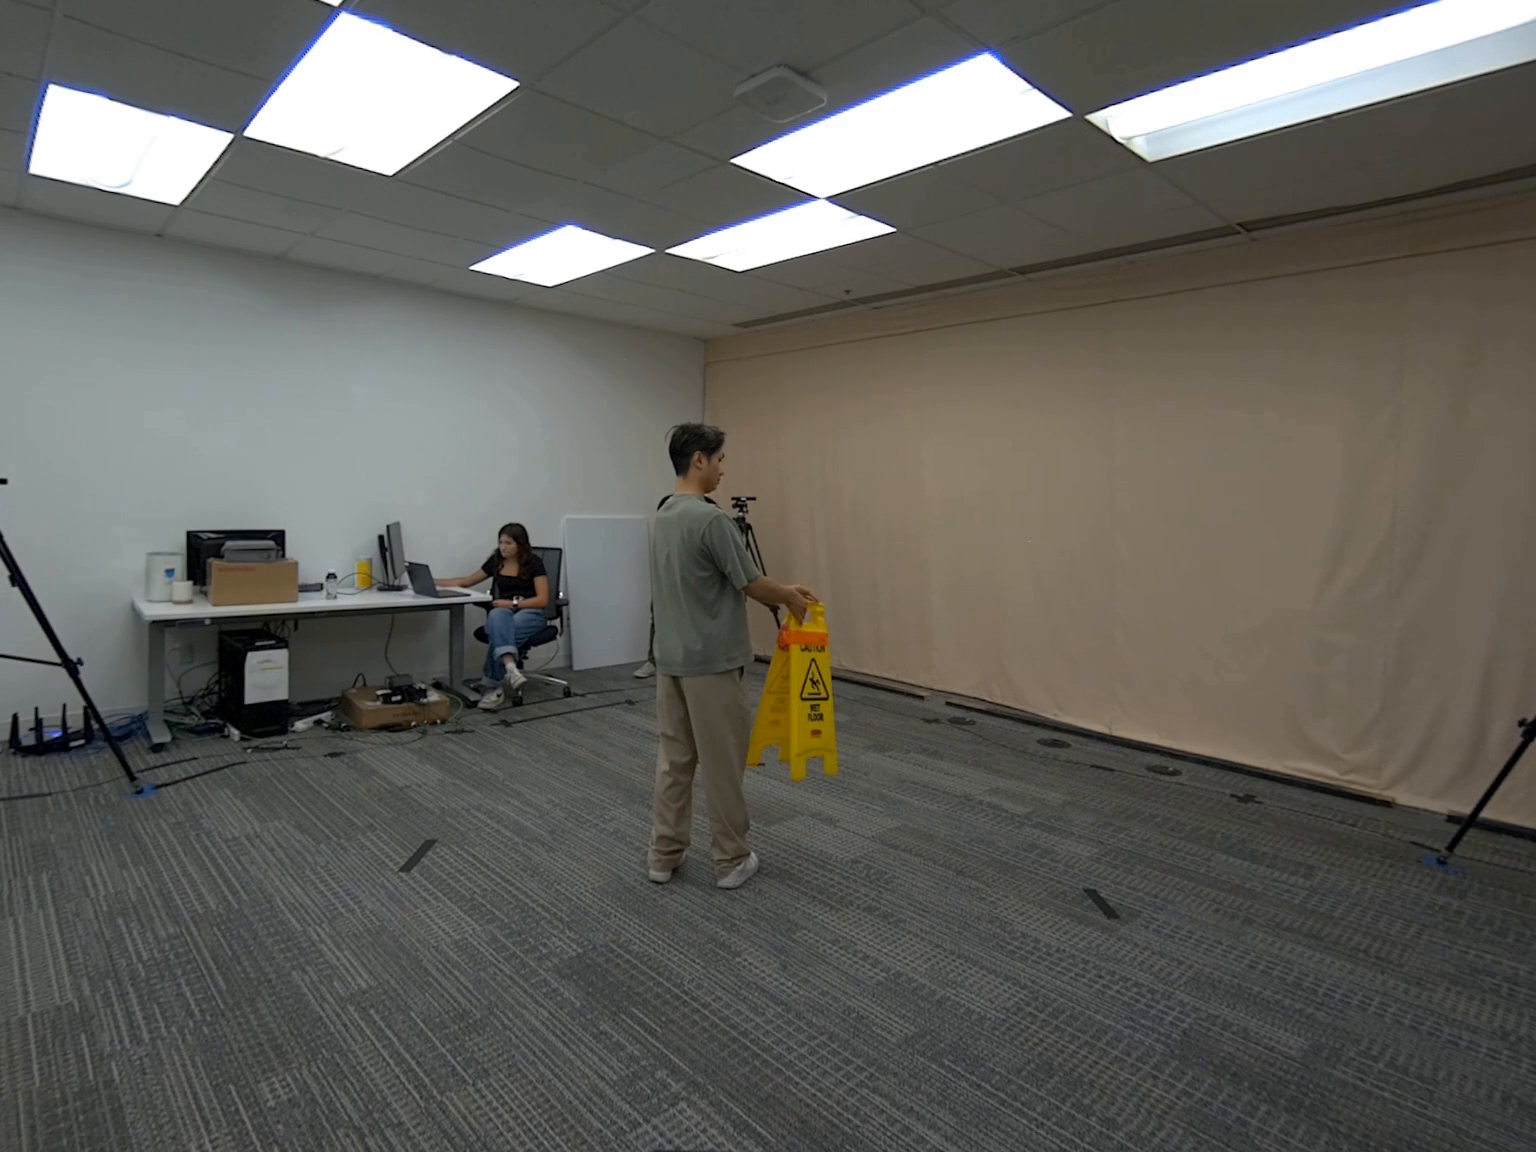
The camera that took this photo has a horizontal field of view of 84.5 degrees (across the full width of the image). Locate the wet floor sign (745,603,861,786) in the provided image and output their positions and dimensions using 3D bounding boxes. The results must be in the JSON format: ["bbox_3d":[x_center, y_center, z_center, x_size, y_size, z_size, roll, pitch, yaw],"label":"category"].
[{"bbox_3d":[0.122,0.429,3.250,0.297,0.647,0.275,3,-4,43],"label":"wet floor sign"}]
